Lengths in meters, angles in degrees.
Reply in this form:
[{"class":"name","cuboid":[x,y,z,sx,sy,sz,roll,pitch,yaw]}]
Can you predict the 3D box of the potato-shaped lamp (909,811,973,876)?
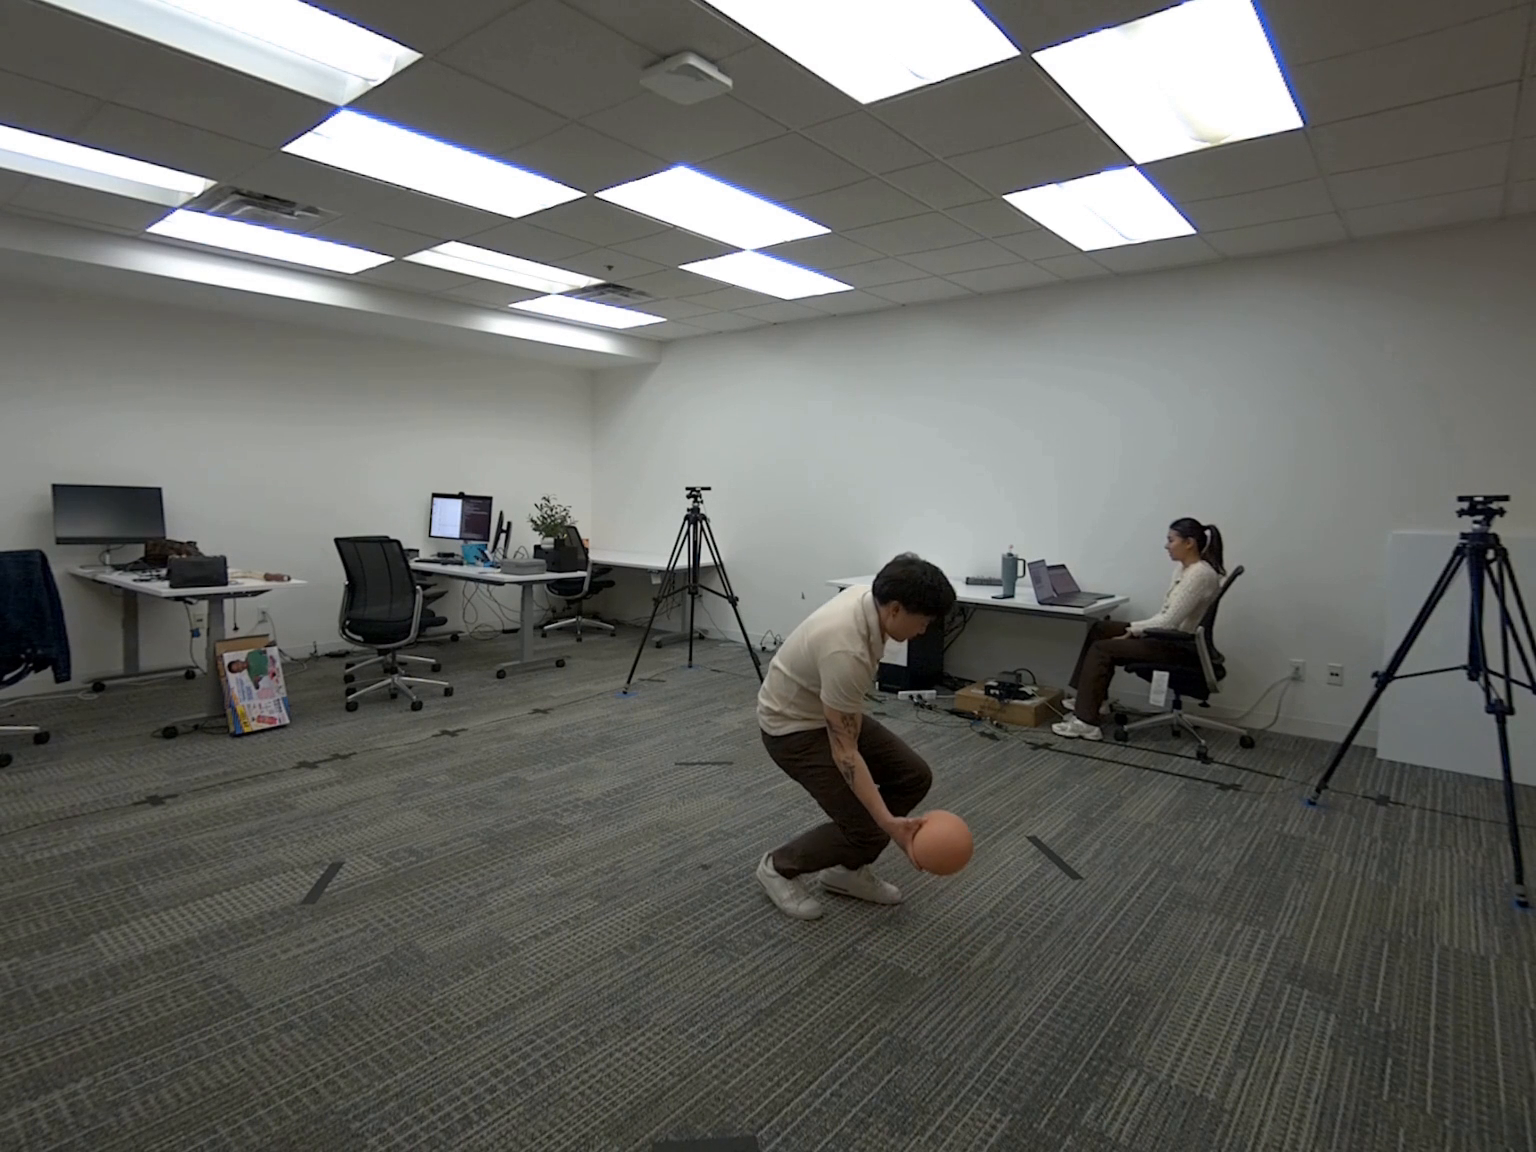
[{"class":"potato-shaped lamp","cuboid":[0.486,0.757,2.418,0.176,0.165,0.192,0,-1,28]}]
